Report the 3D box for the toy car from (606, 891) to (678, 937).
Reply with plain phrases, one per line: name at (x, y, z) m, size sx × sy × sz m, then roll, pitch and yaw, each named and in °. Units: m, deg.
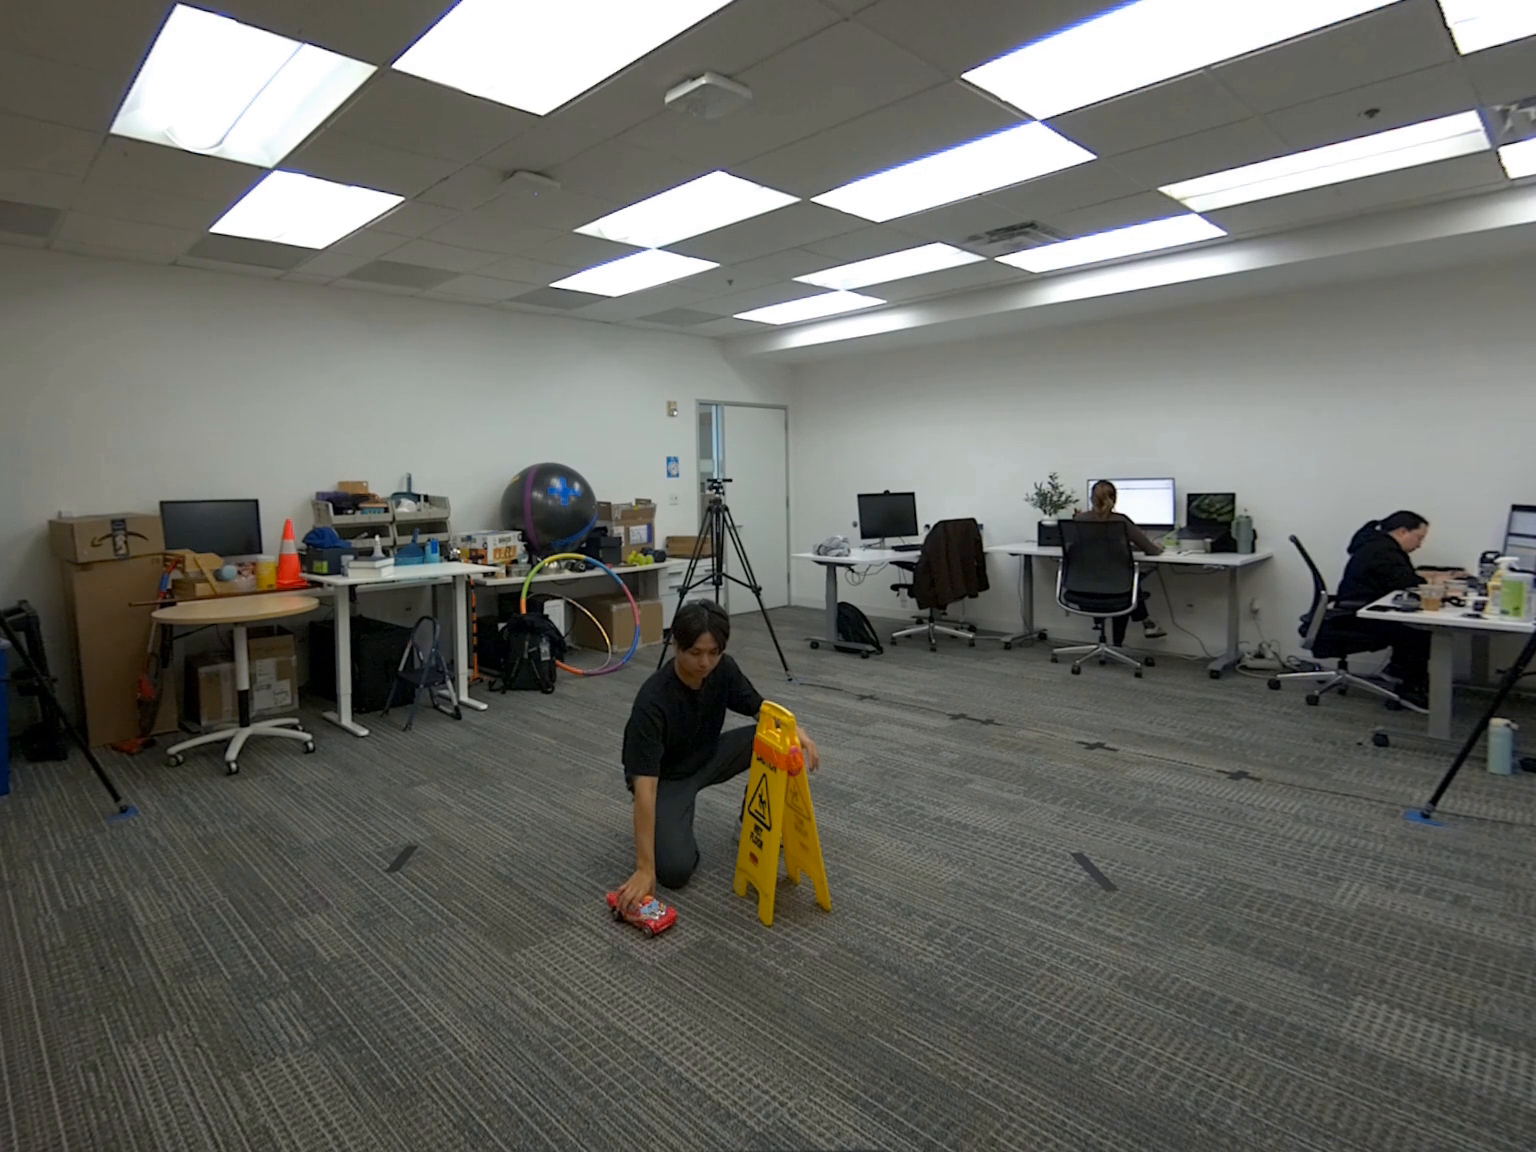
toy car at (-0.412, 1.062, 2.719) m, size 0.264 × 0.082 × 0.127 m, roll 19°, pitch 22°, yaw 39°
